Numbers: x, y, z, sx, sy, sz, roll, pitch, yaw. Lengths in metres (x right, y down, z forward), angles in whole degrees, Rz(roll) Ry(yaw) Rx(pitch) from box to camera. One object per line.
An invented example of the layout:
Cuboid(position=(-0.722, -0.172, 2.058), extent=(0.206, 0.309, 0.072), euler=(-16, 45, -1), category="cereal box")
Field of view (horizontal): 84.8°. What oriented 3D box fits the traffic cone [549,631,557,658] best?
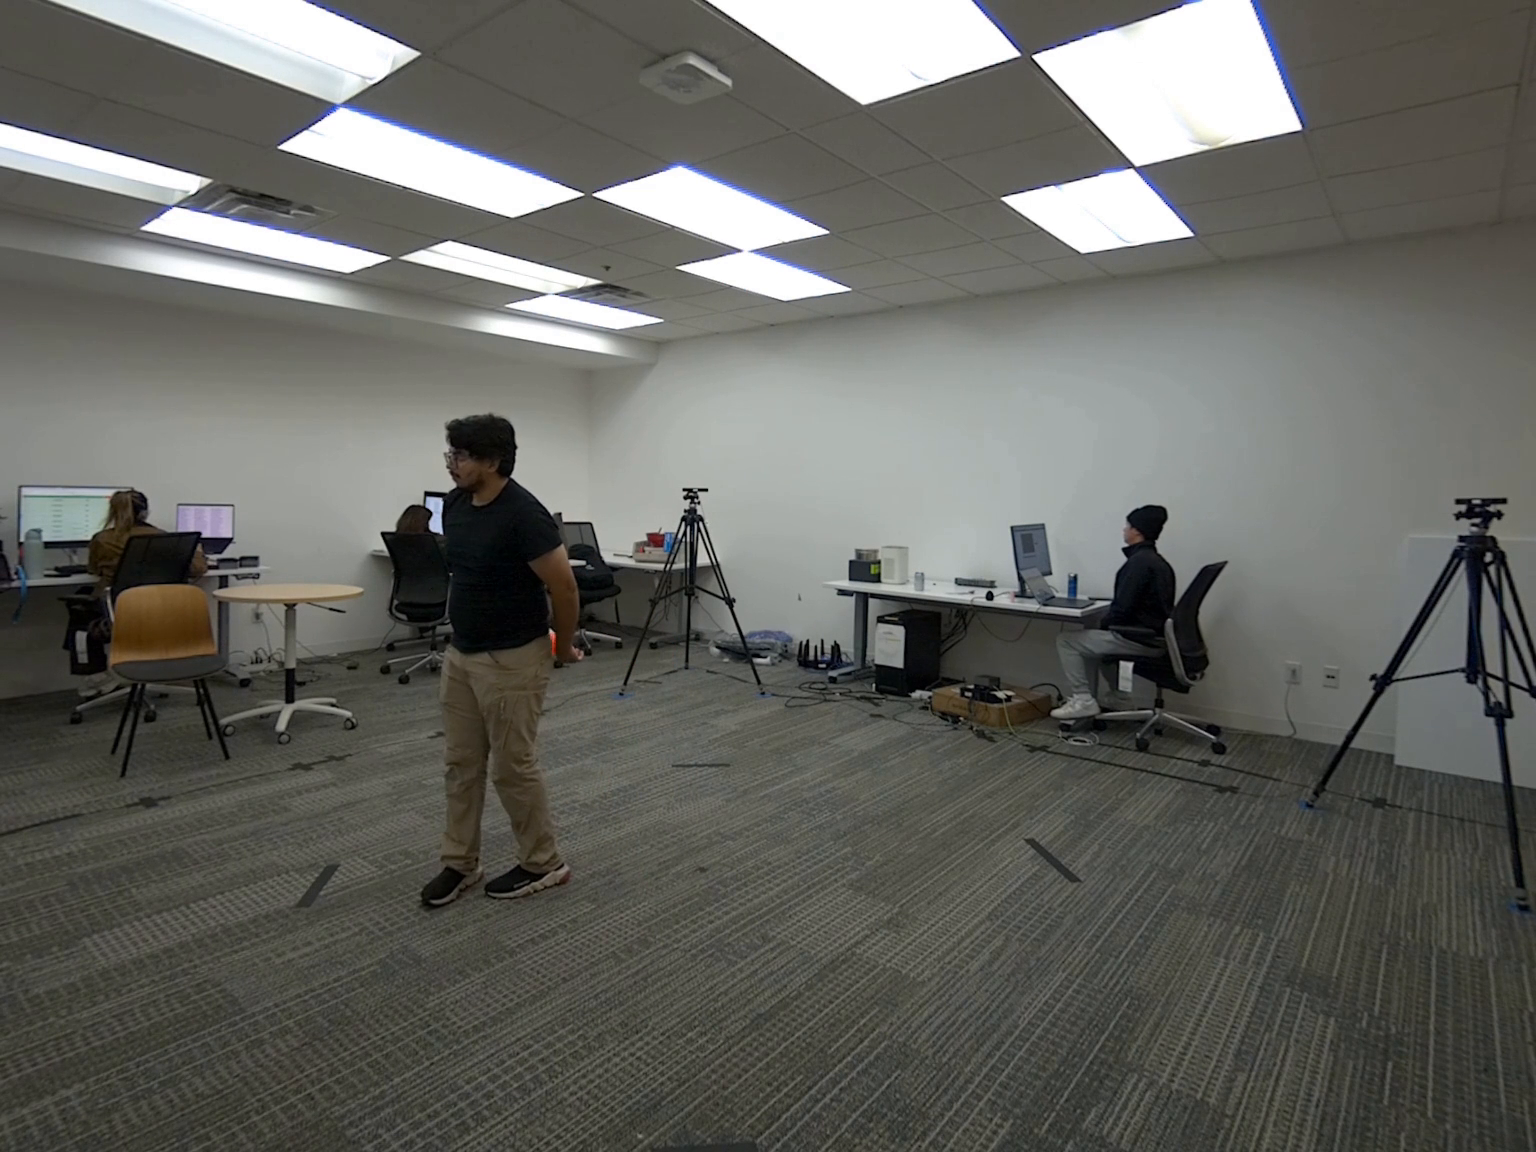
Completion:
Cuboid(position=(-0.862, 0.223, 3.138), extent=(0.399, 0.197, 0.203), euler=(24, 57, 35), category="traffic cone")
